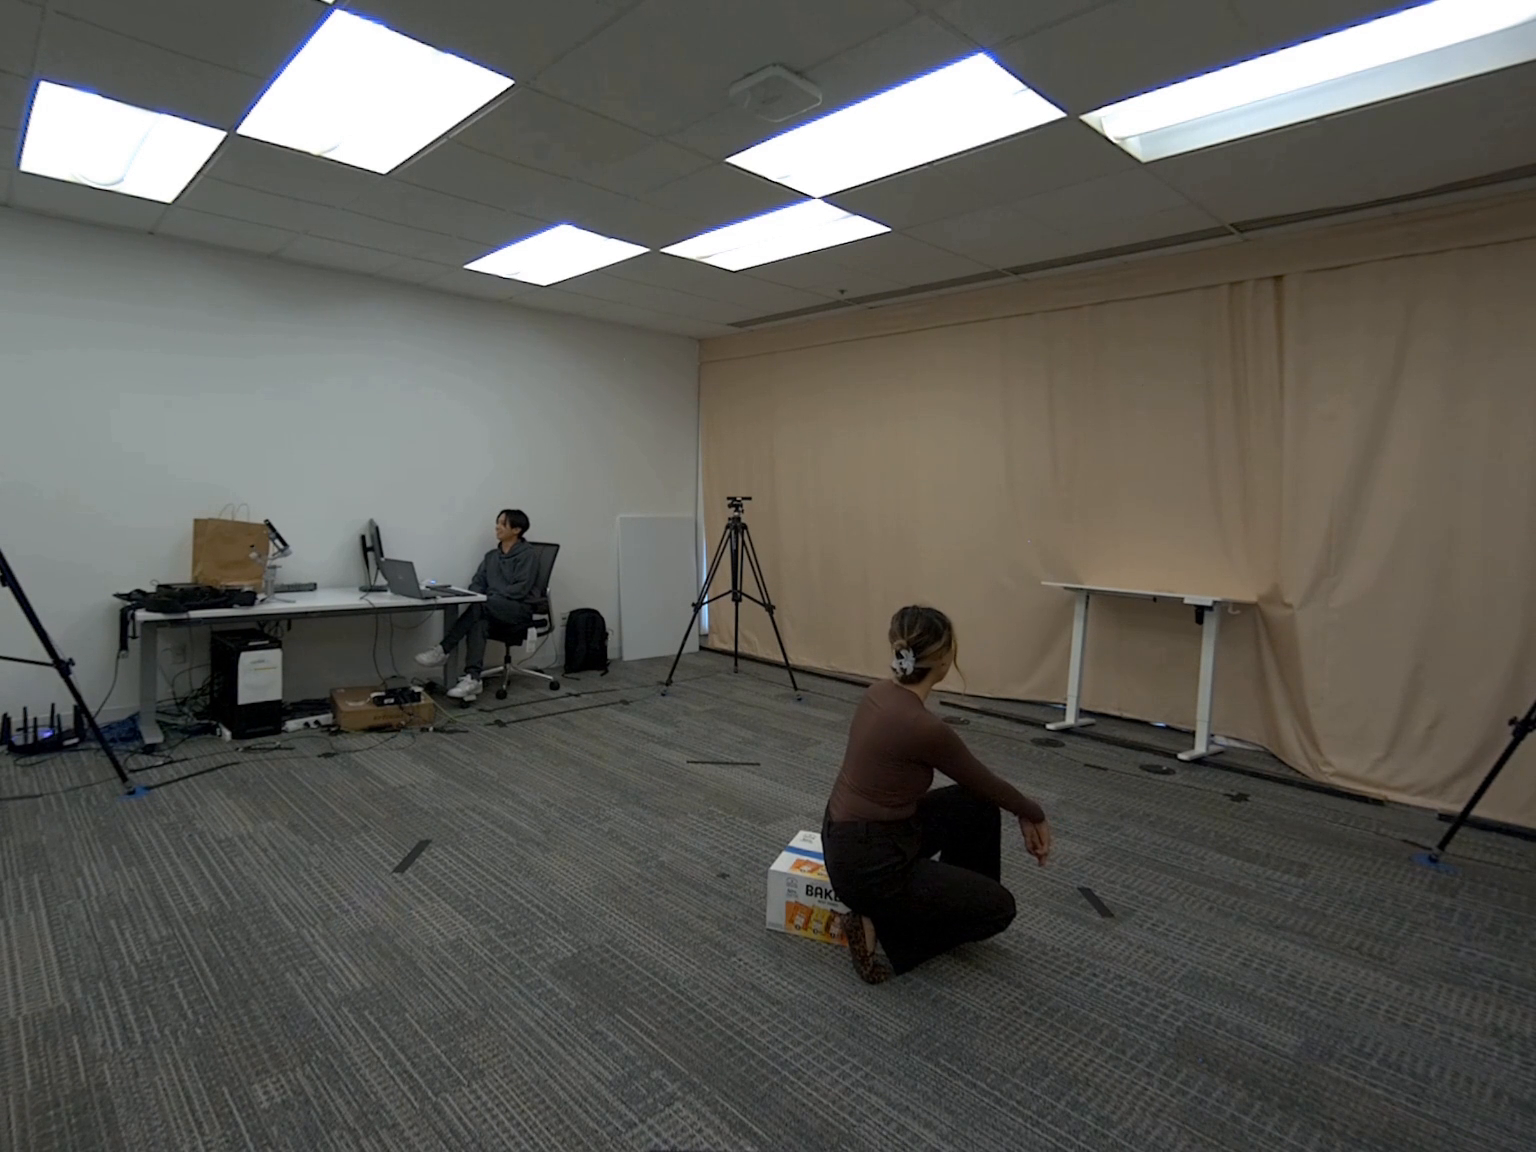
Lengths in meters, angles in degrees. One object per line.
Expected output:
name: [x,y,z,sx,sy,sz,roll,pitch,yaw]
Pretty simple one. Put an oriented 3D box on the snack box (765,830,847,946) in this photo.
snack box: [0.242,1.042,2.797,0.412,0.205,0.336,4,6,21]
